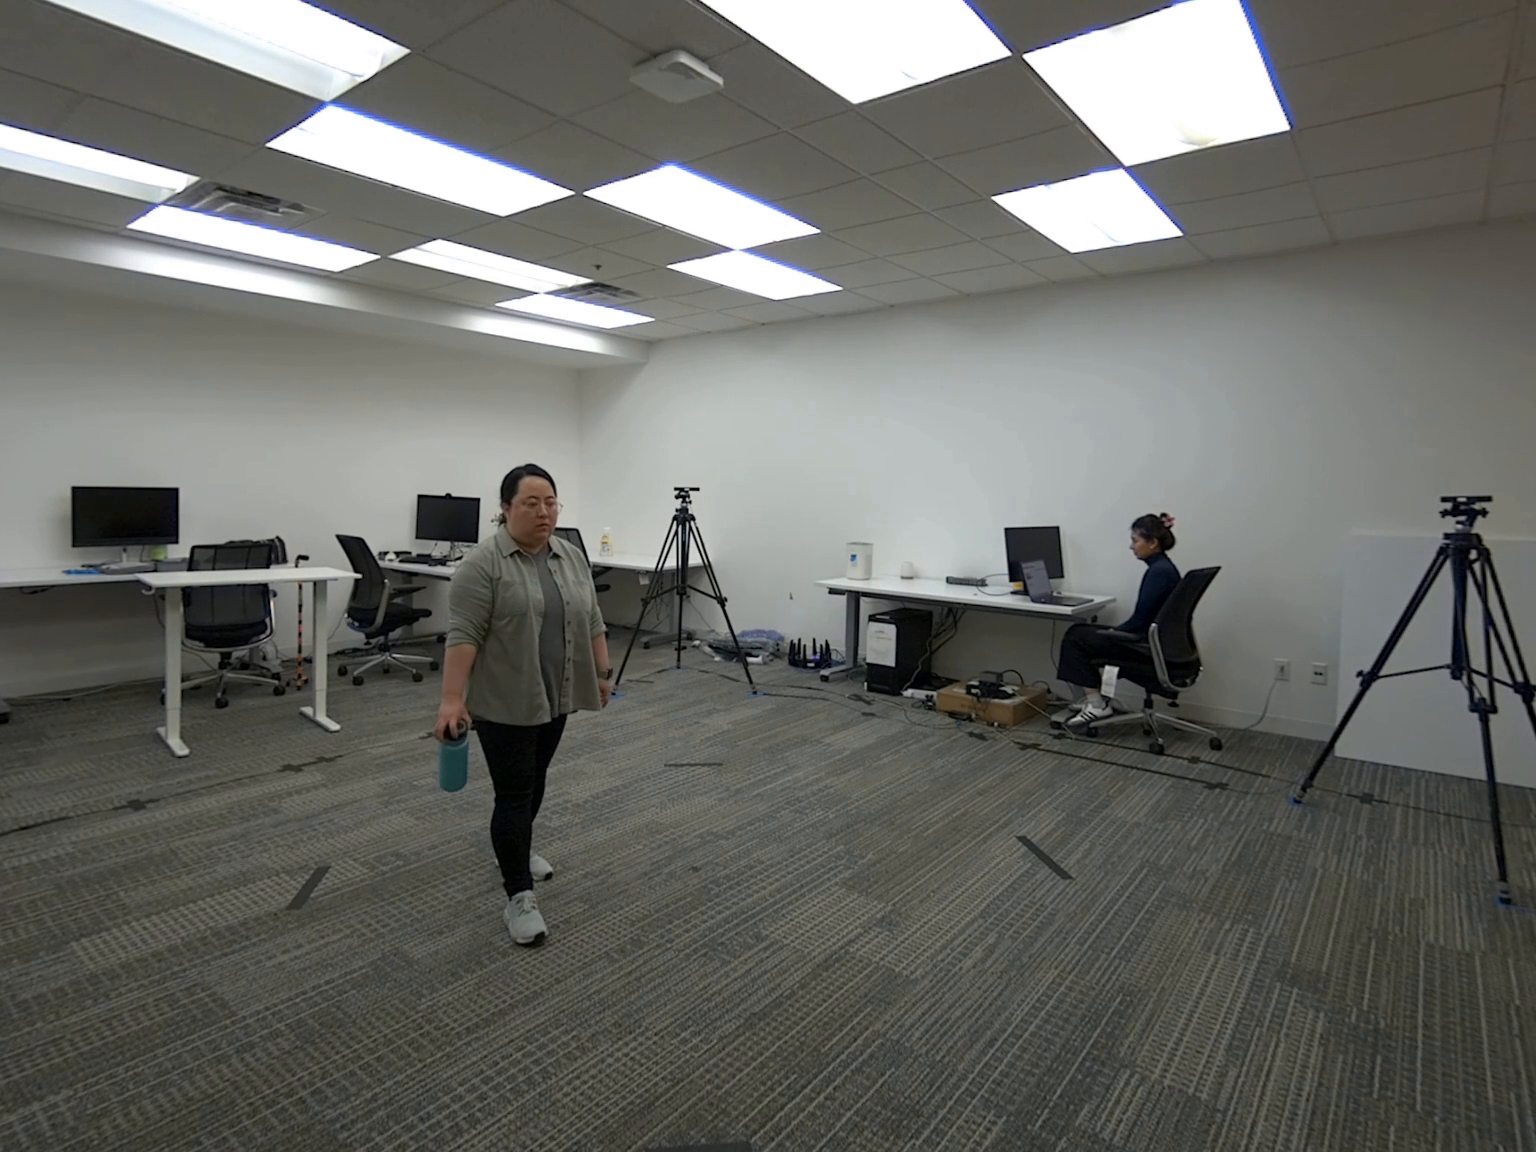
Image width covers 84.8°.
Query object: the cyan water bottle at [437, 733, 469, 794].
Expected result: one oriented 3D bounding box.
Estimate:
[{"bbox_3d":[-0.996,0.551,2.655,0.091,0.278,0.095,9,36,-8],"label":"cyan water bottle"}]
